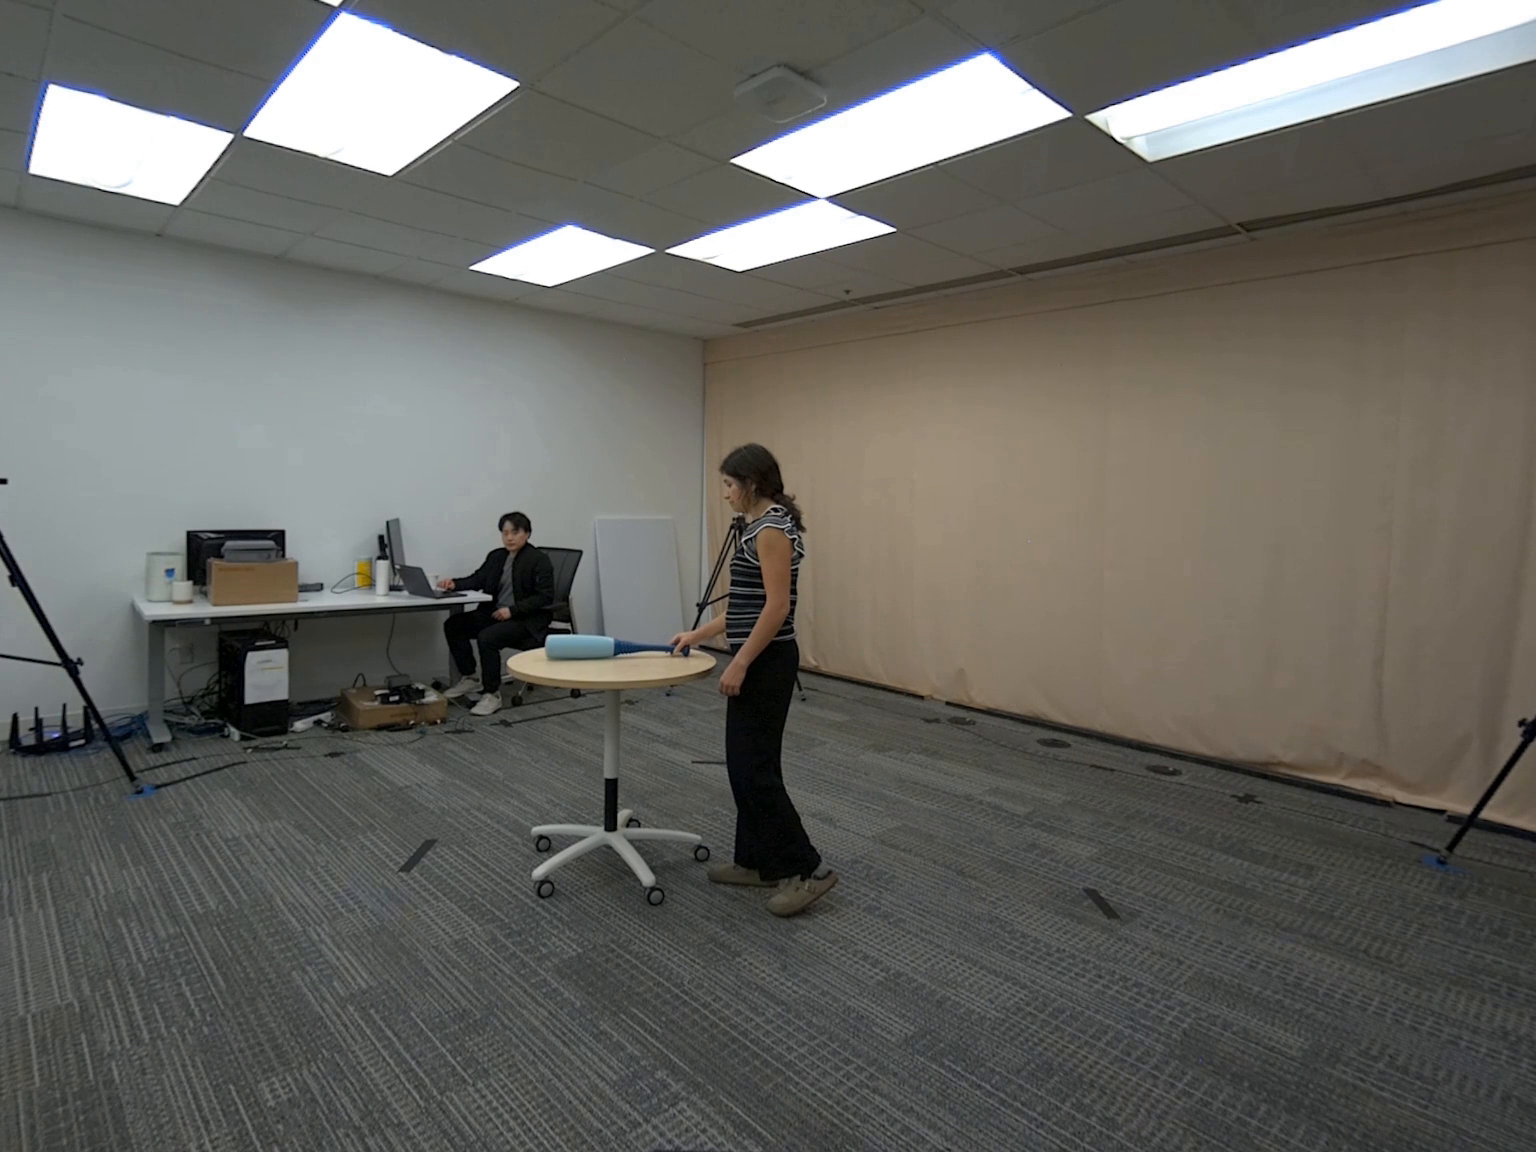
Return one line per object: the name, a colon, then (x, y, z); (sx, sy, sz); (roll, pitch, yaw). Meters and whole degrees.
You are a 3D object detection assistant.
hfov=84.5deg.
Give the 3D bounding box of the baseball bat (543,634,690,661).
baseball bat: (-0.565, 0.271, 3.158); (0.537, 0.089, 0.090); (3, 4, -13)
